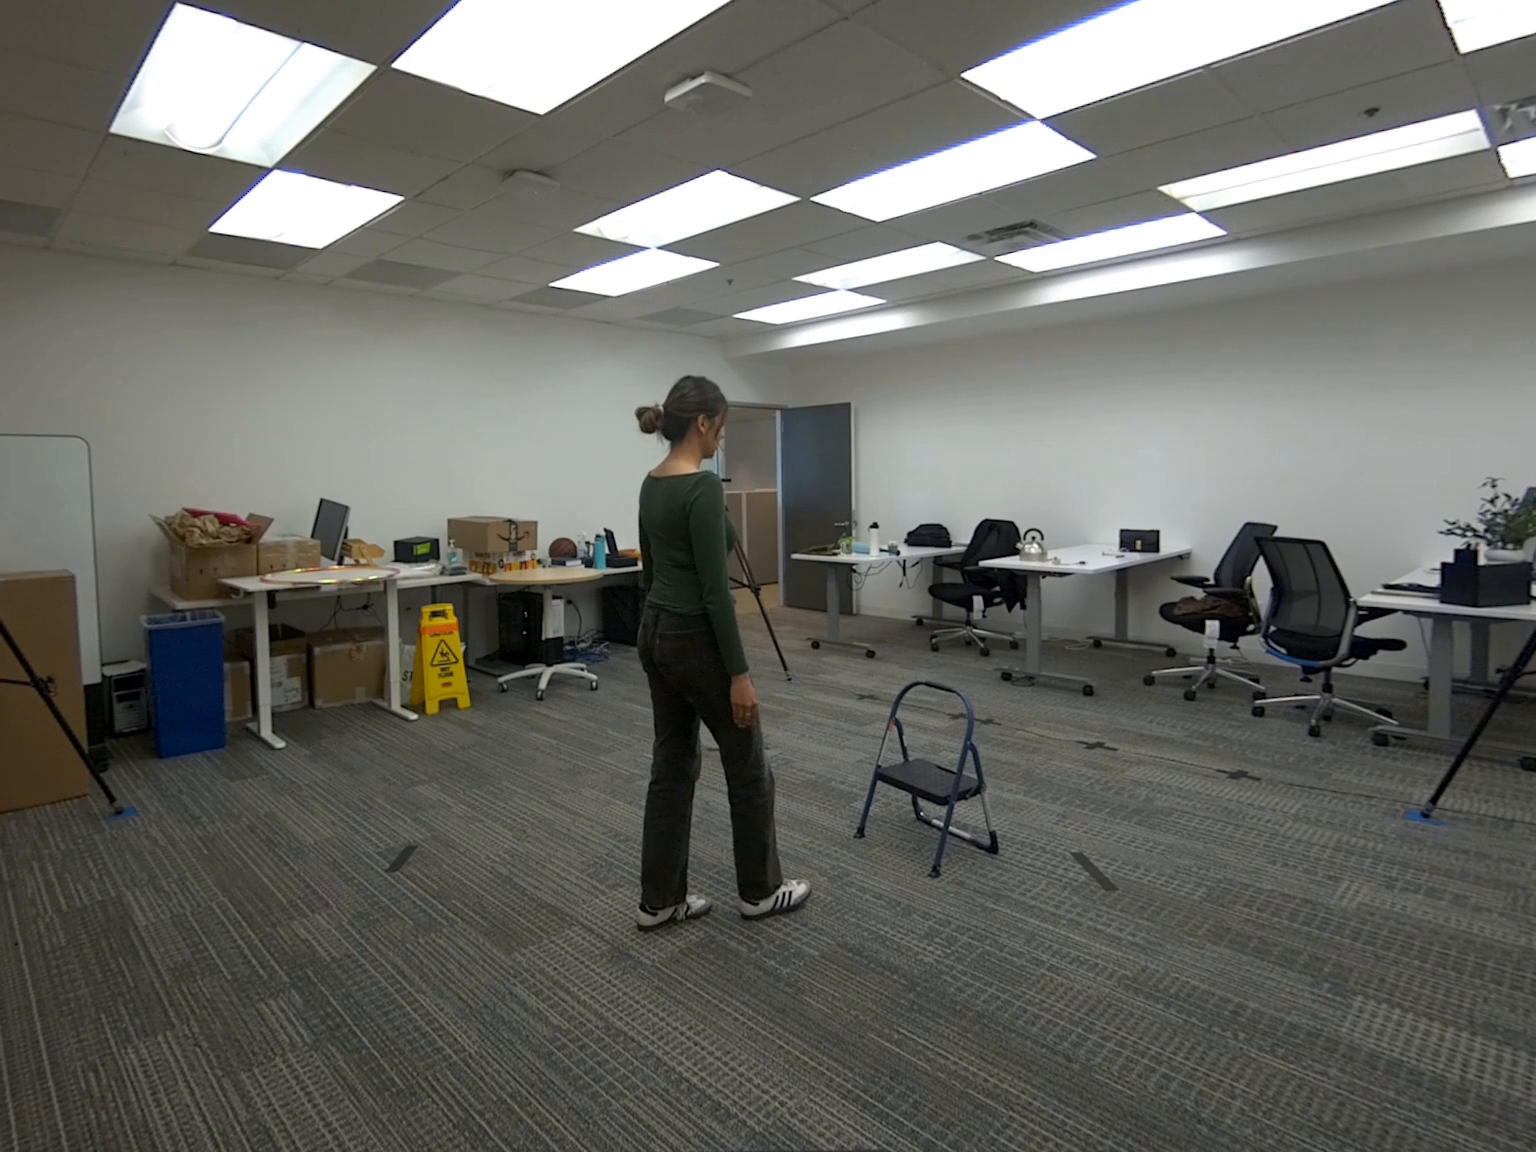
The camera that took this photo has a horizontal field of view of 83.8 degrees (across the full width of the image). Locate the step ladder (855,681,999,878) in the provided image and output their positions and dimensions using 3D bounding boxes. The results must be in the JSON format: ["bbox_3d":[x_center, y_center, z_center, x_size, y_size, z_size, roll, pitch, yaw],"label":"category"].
[{"bbox_3d":[0.594,0.717,3.217,0.340,0.604,0.443,-3,5,-34],"label":"step ladder"}]
